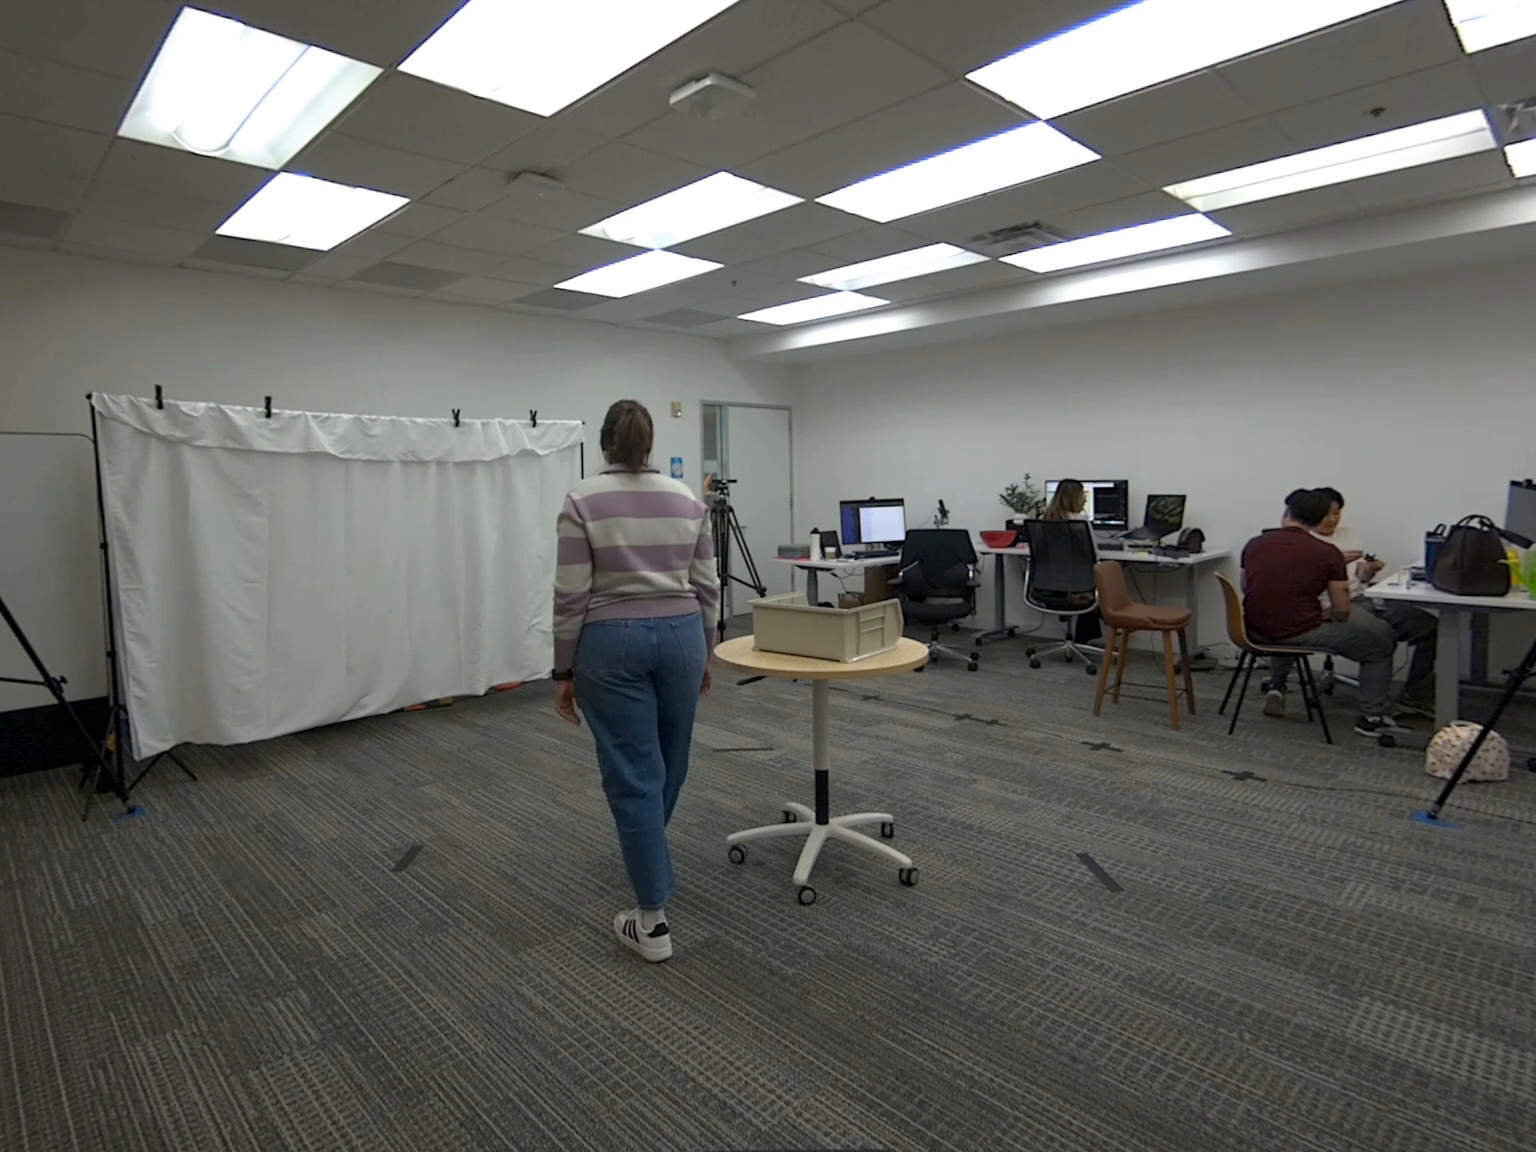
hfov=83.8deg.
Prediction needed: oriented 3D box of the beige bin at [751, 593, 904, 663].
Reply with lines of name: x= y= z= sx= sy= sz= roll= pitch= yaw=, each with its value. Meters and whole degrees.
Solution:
beige bin: x=0.207 y=0.172 z=3.061 sx=0.435 sy=0.188 sz=0.368 roll=4 pitch=9 yaw=39
